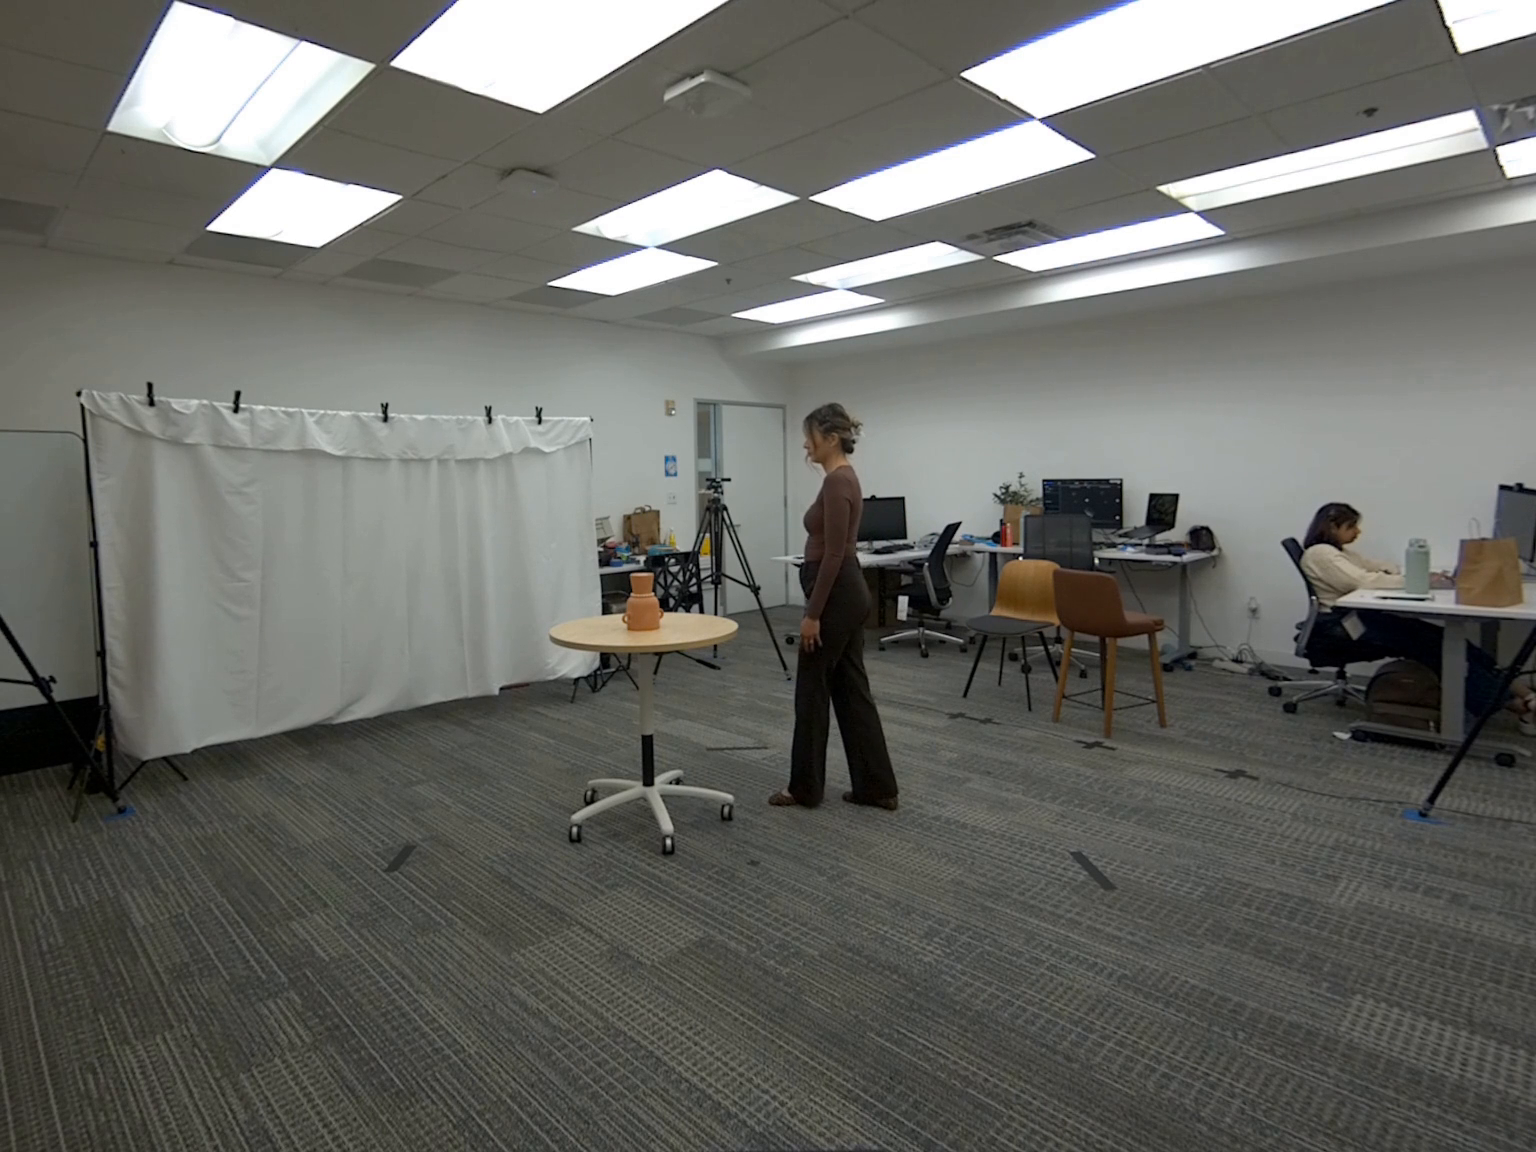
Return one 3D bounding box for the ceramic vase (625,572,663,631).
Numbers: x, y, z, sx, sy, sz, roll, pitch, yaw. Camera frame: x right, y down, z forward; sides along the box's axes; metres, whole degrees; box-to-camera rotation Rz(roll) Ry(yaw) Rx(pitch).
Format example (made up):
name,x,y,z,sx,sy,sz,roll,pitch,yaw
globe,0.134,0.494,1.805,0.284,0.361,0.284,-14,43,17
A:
name,x,y,z,sx,sy,sz,roll,pitch,yaw
ceramic vase,-0.506,0.103,3.461,0.136,0.219,0.158,-2,5,10
